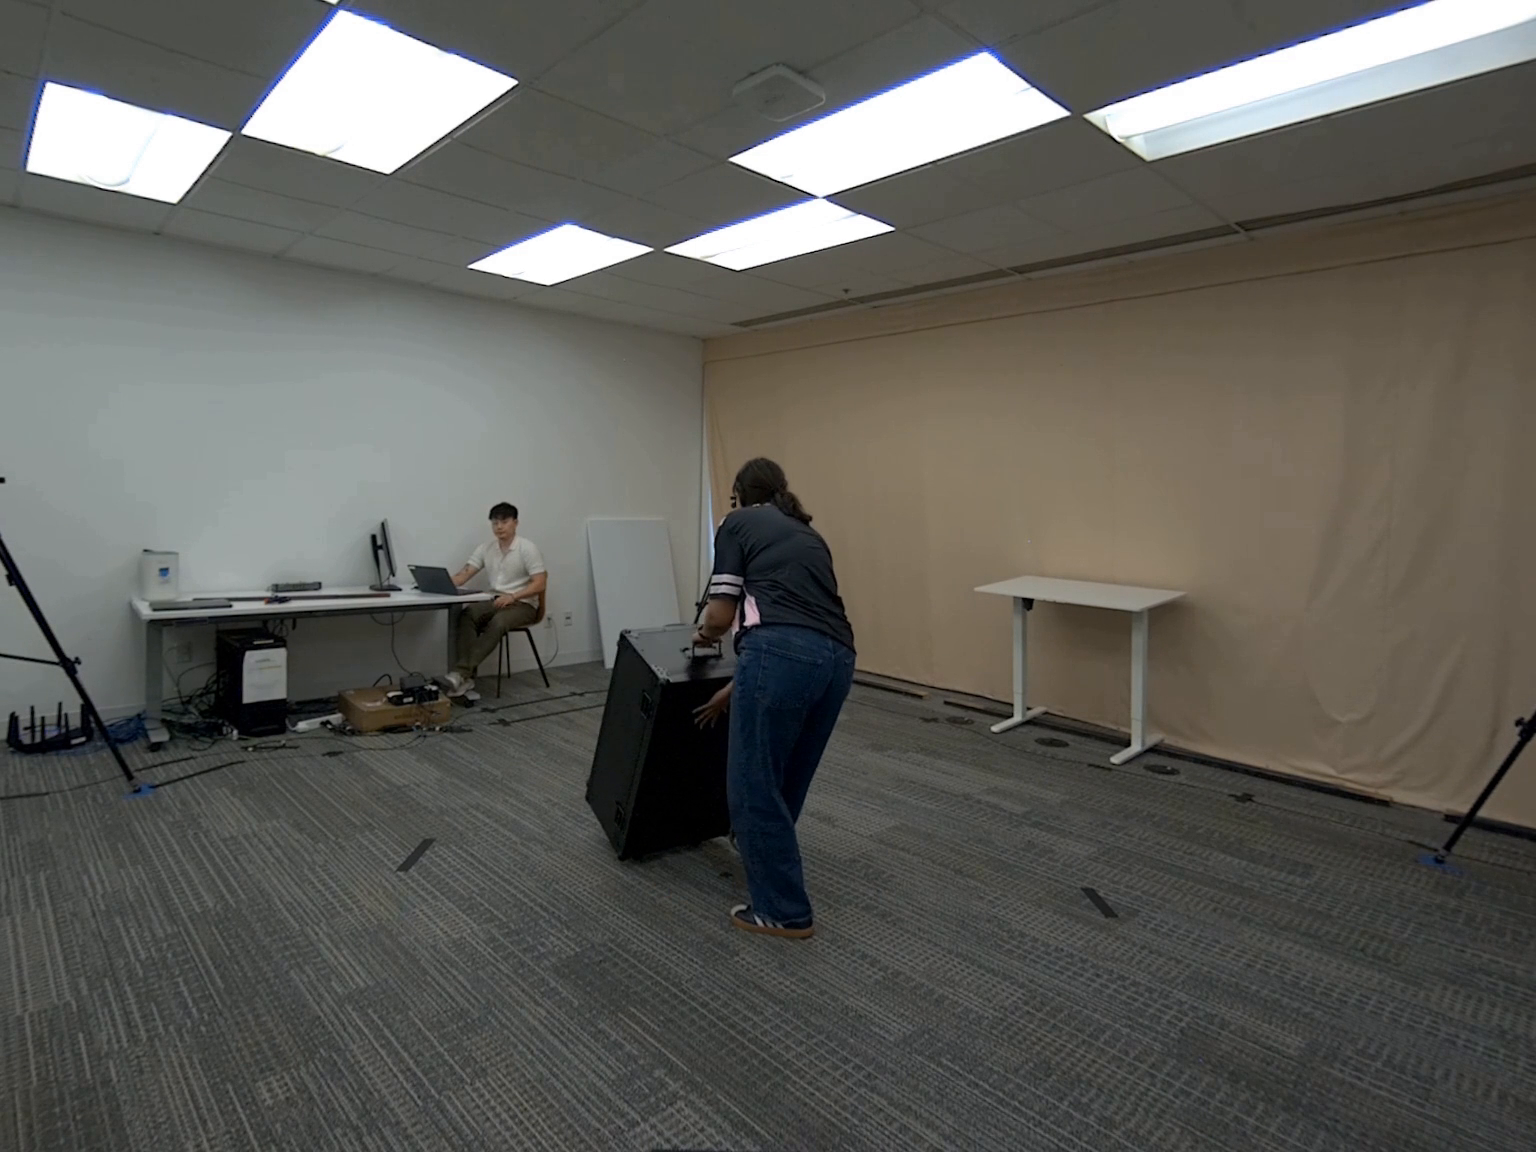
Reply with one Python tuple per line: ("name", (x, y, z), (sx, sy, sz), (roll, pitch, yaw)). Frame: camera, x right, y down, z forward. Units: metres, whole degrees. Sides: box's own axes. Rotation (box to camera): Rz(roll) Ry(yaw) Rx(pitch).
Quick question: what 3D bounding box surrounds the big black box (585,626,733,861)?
("big black box", (-0.371, 0.652, 3.237), (0.512, 0.859, 0.398), (-1, 28, -36))
